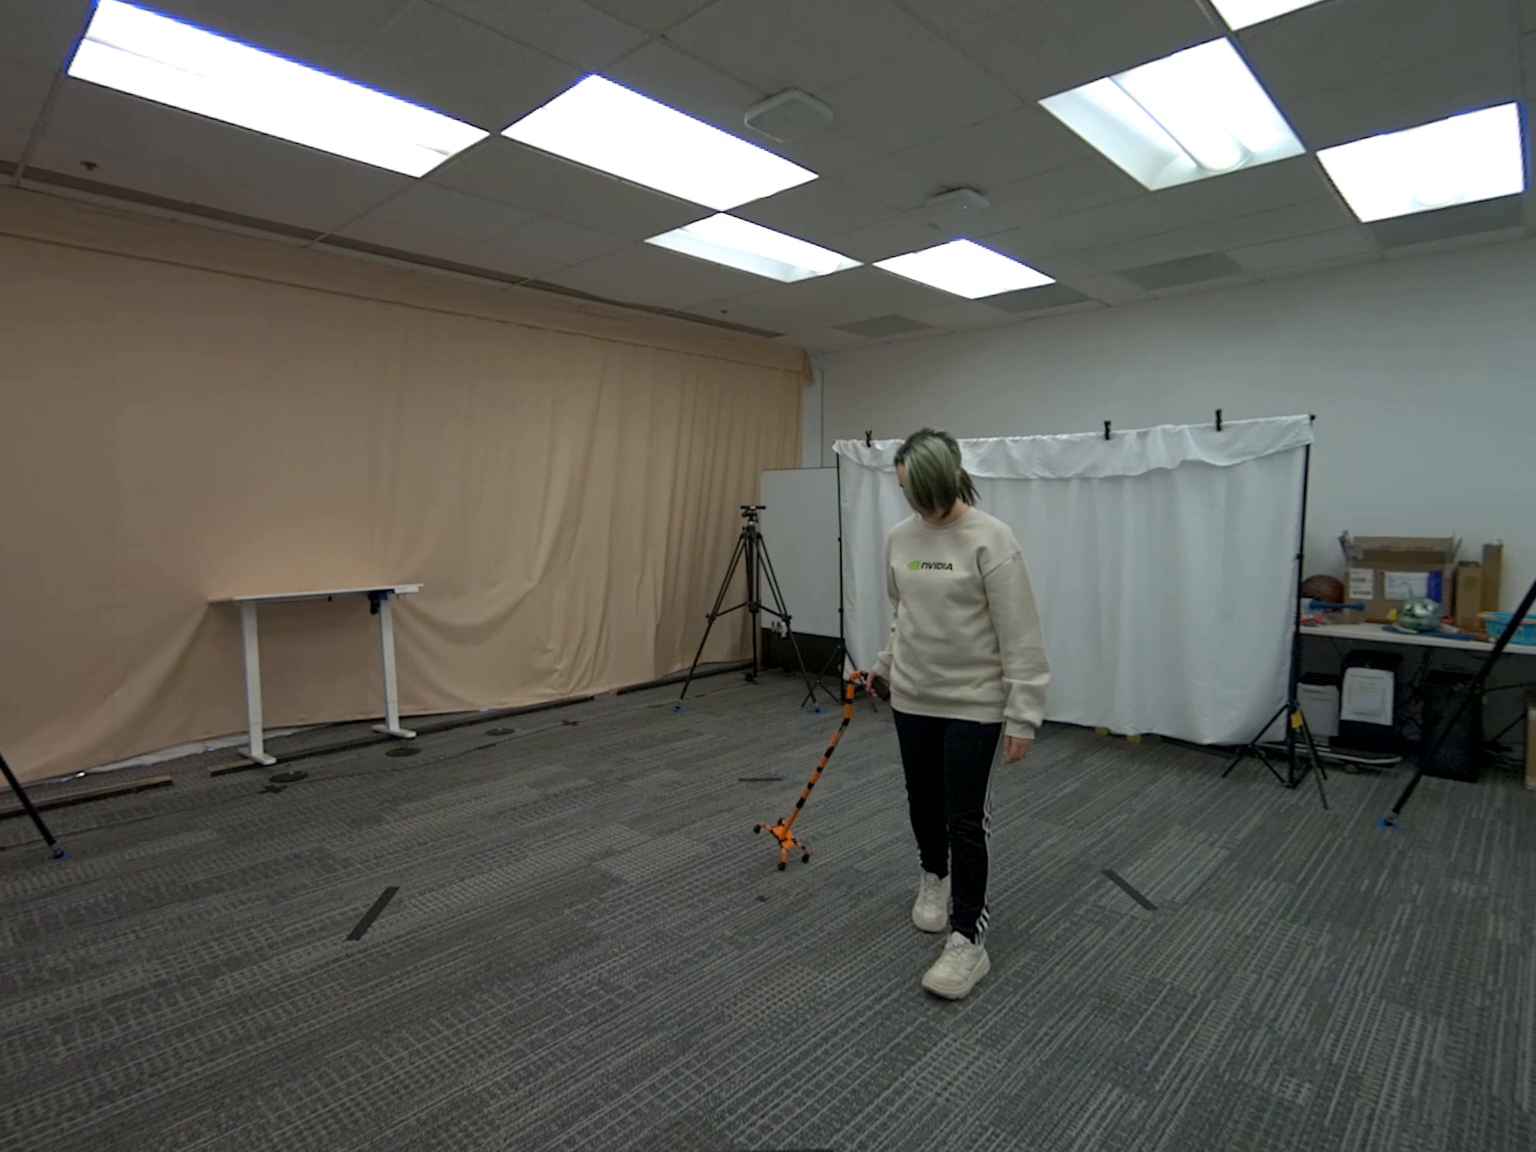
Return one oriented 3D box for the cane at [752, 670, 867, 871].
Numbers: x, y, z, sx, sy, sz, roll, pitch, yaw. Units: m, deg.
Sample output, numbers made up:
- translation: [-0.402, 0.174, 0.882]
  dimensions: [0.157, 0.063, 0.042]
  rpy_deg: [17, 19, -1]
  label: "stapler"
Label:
- translation: [0.202, 0.700, 3.089]
  dimensions: [0.147, 0.903, 0.214]
  rpy_deg: [-1, 37, -36]
  label: "cane"
